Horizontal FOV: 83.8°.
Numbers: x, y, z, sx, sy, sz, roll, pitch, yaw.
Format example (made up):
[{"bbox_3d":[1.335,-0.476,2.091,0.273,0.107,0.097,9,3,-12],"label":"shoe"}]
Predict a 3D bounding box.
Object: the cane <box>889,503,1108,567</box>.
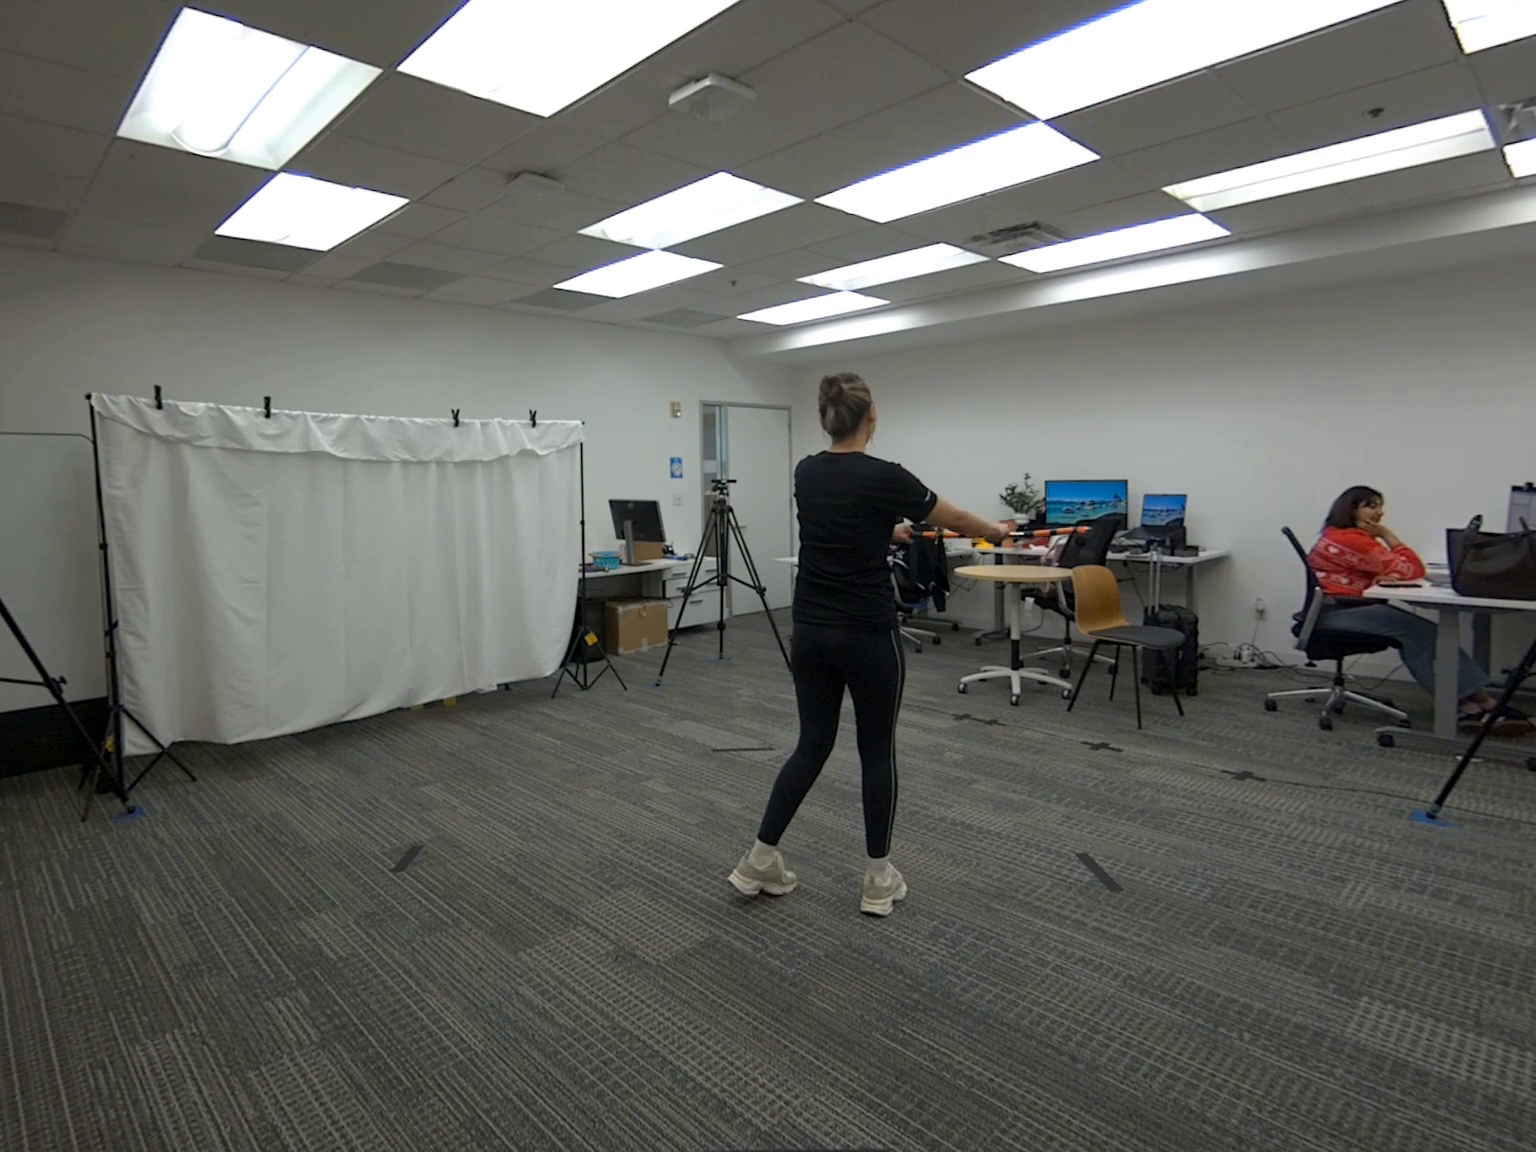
[{"bbox_3d":[0.701,-0.139,3.070,0.934,0.150,0.203,0,15,43],"label":"cane"}]
